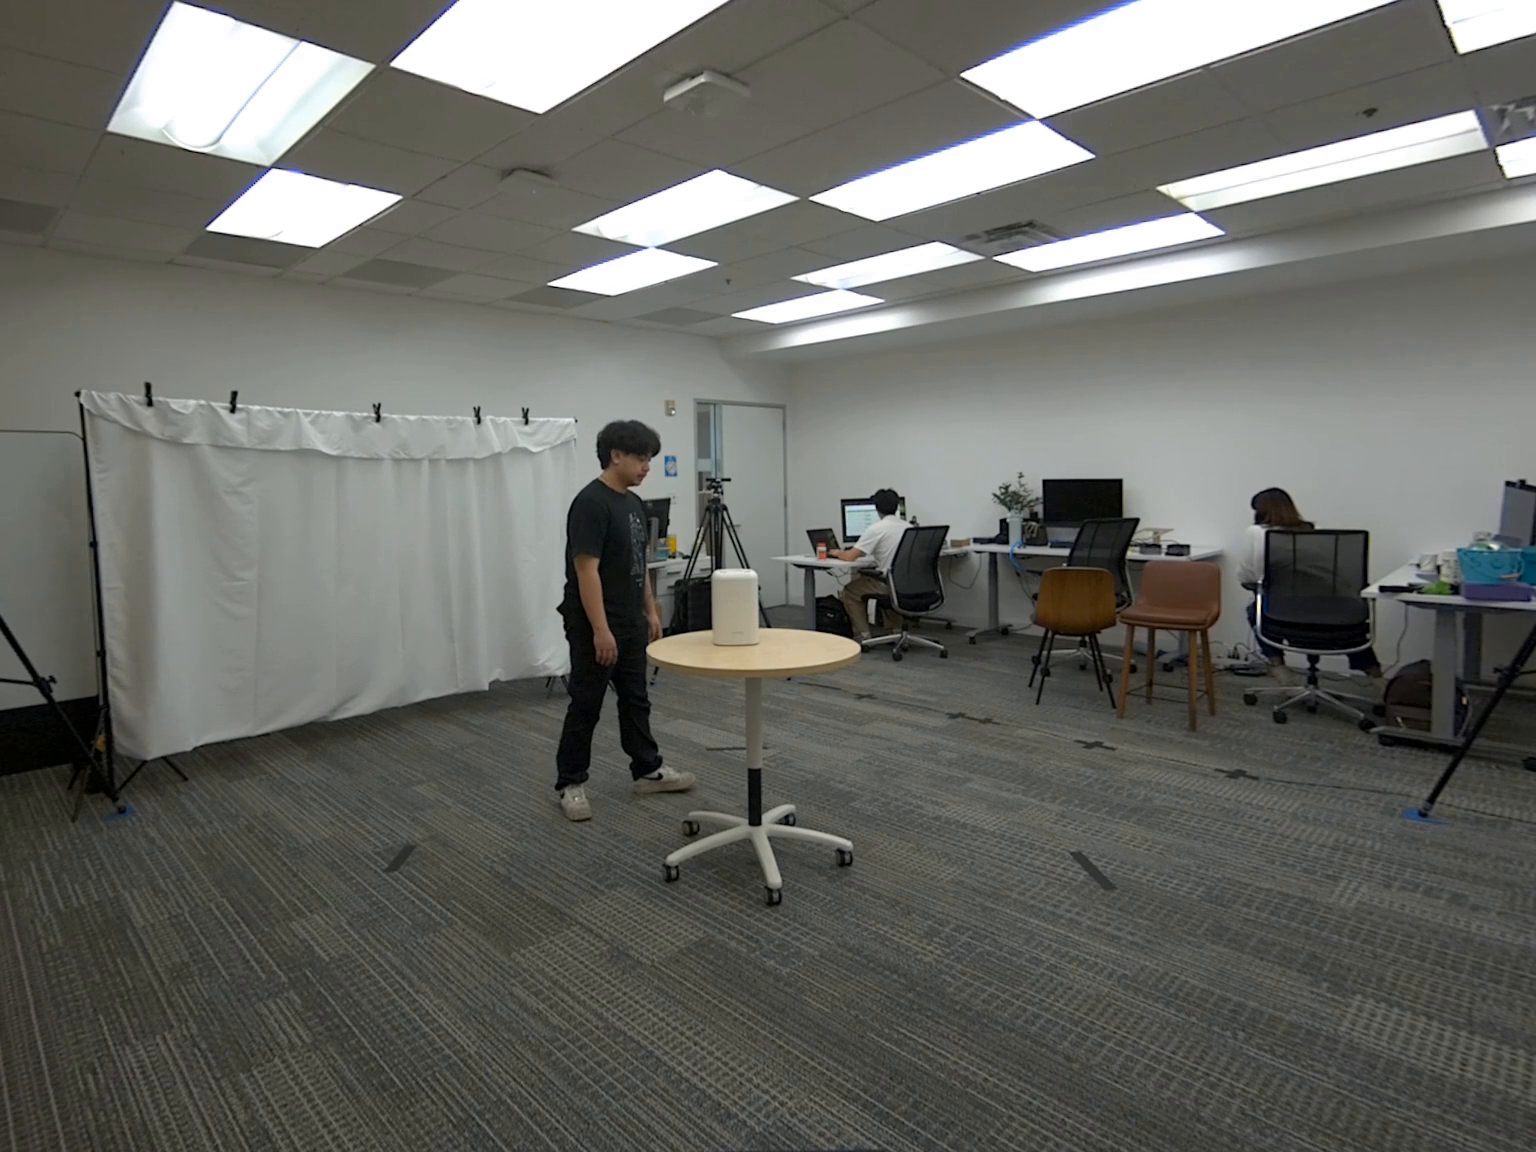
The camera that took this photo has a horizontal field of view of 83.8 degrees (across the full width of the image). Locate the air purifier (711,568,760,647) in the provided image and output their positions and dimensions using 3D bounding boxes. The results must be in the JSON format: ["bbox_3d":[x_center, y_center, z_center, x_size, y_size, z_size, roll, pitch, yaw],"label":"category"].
[{"bbox_3d":[-0.116,0.112,3.158,0.171,0.265,0.172,-1,3,-1],"label":"air purifier"}]
